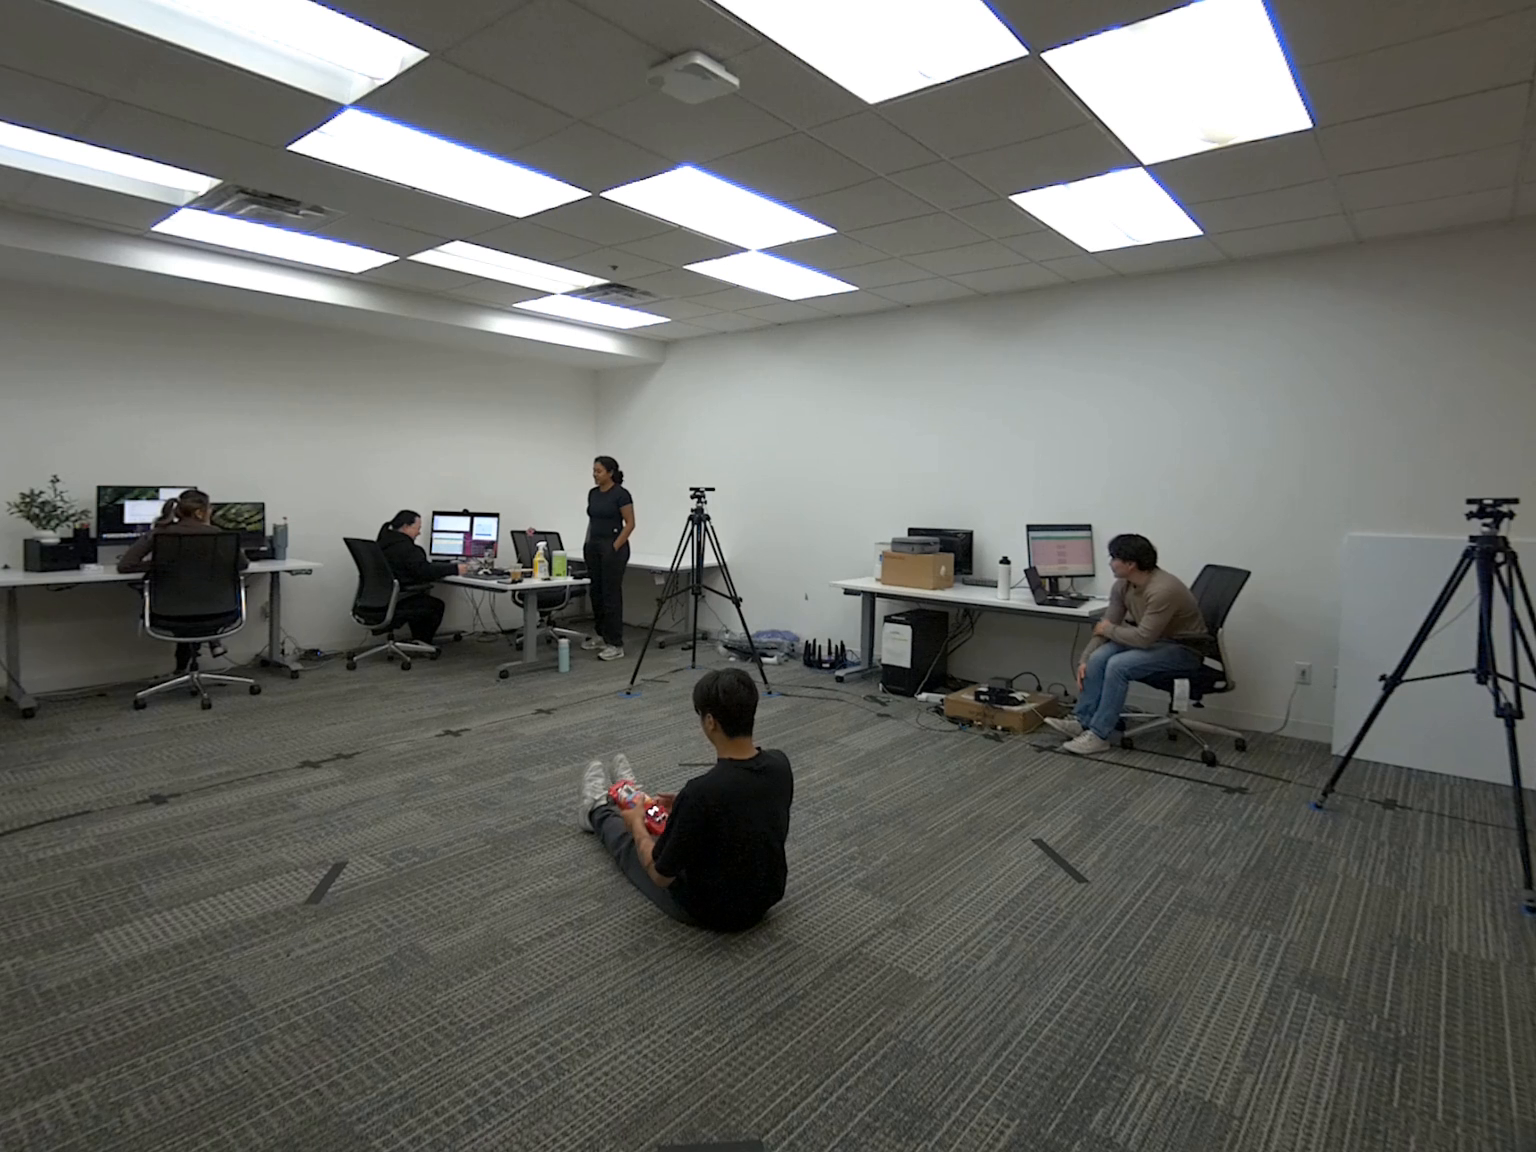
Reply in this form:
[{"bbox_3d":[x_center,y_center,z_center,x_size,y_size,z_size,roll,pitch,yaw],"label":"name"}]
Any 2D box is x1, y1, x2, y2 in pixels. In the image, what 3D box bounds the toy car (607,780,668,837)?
[{"bbox_3d":[-0.424,0.798,2.872,0.263,0.082,0.127,24,23,28],"label":"toy car"}]
